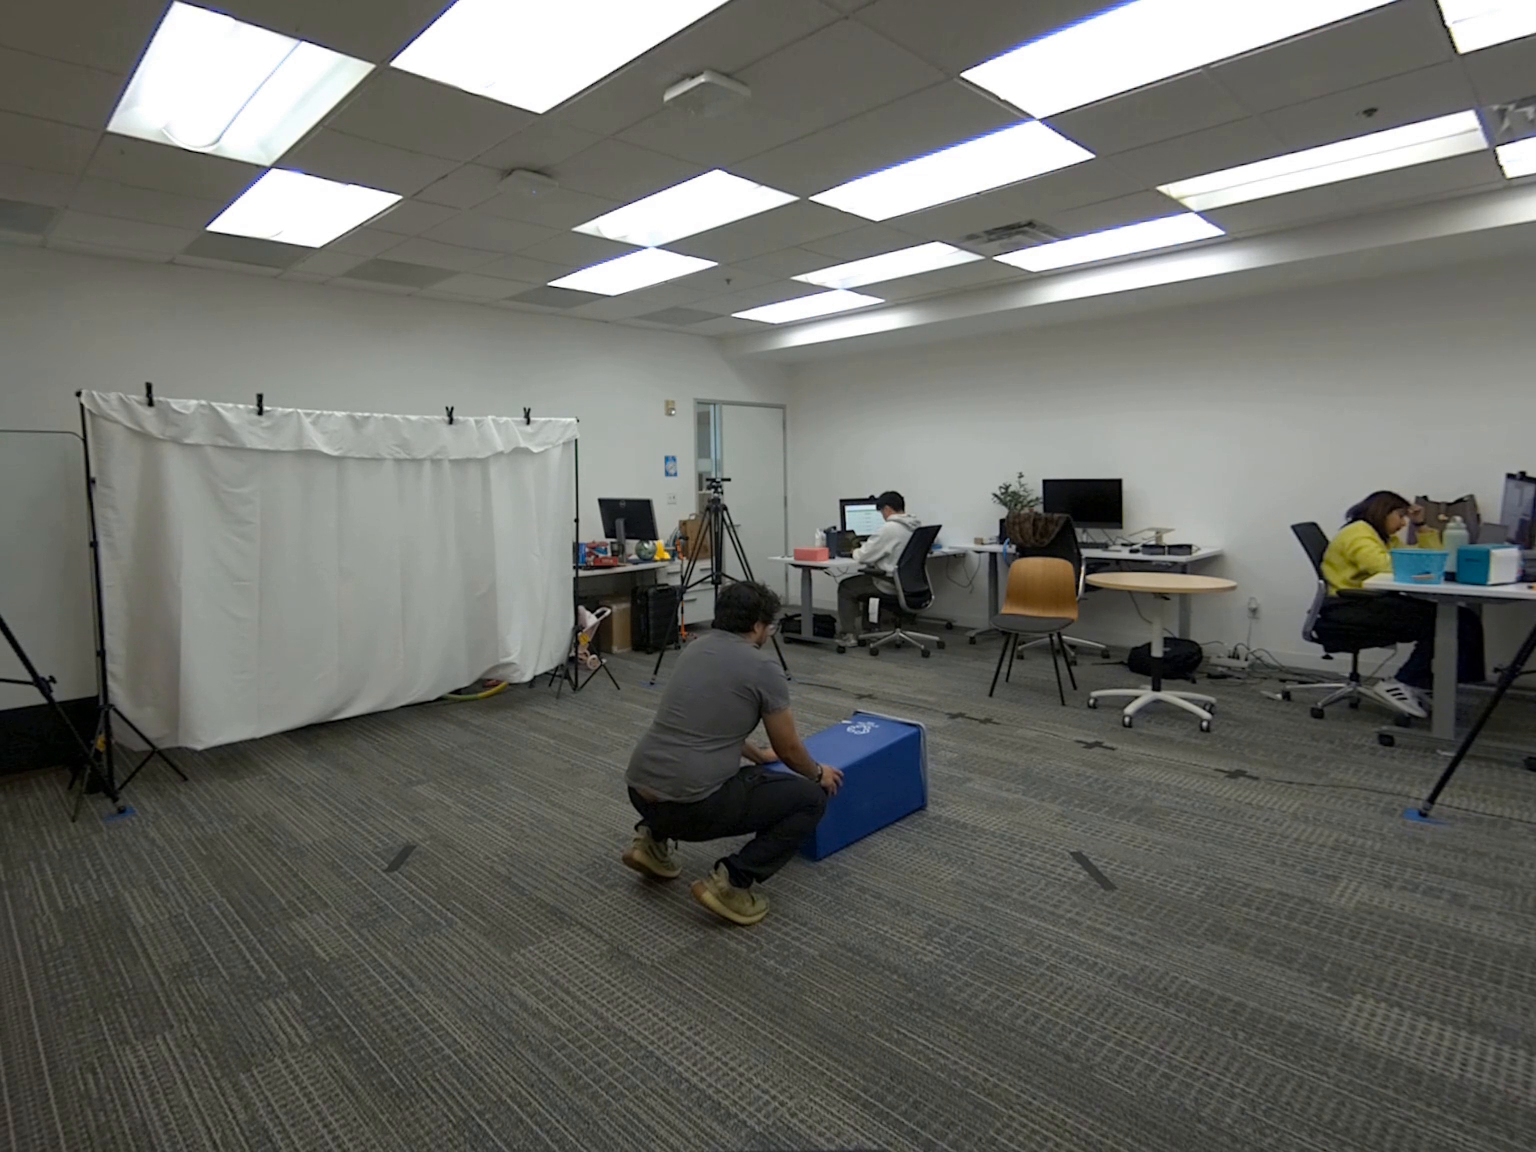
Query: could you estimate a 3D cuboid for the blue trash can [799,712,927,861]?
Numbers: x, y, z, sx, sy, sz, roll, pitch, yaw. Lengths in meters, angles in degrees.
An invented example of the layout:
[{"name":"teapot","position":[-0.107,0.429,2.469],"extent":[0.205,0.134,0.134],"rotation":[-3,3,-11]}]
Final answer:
[{"name":"blue trash can","position":[0.301,0.834,3.433],"extent":[0.385,0.376,0.697],"rotation":[3,10,43]}]
